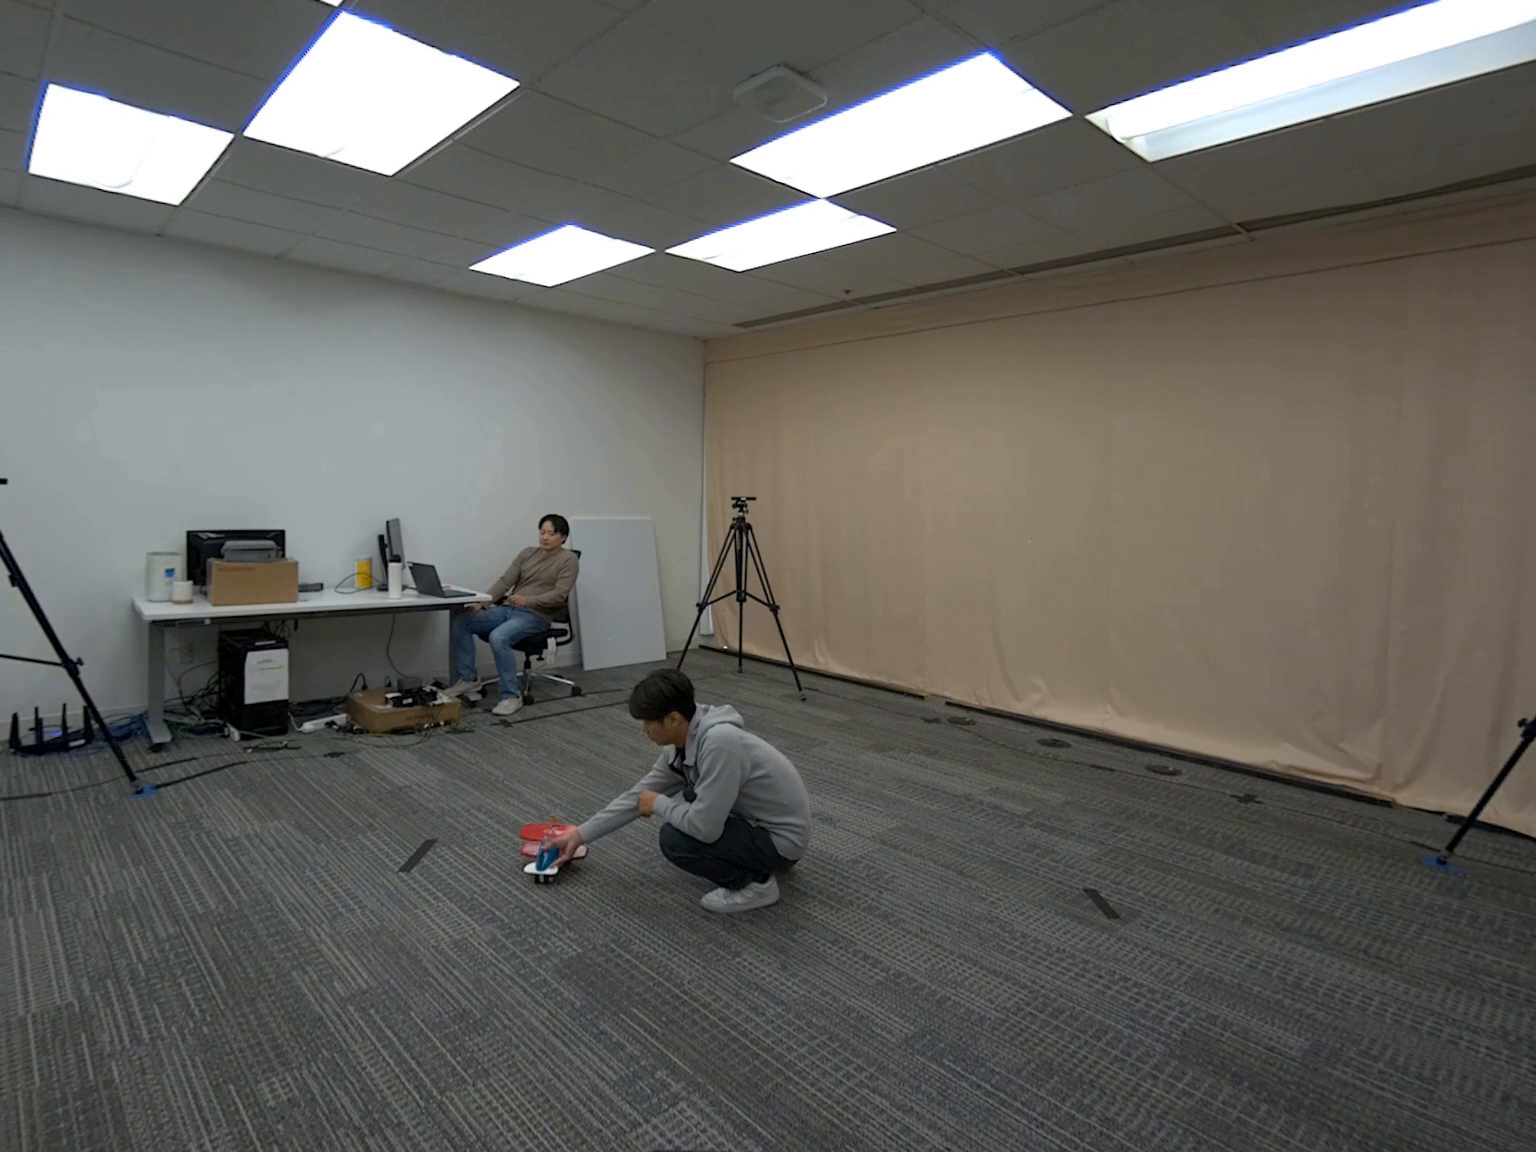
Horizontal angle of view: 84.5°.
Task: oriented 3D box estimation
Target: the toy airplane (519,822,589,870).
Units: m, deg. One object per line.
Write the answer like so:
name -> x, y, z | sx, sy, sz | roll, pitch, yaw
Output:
toy airplane -> -0.785, 1.017, 3.099 | 0.247, 0.156, 0.264 | 1, 5, -21
